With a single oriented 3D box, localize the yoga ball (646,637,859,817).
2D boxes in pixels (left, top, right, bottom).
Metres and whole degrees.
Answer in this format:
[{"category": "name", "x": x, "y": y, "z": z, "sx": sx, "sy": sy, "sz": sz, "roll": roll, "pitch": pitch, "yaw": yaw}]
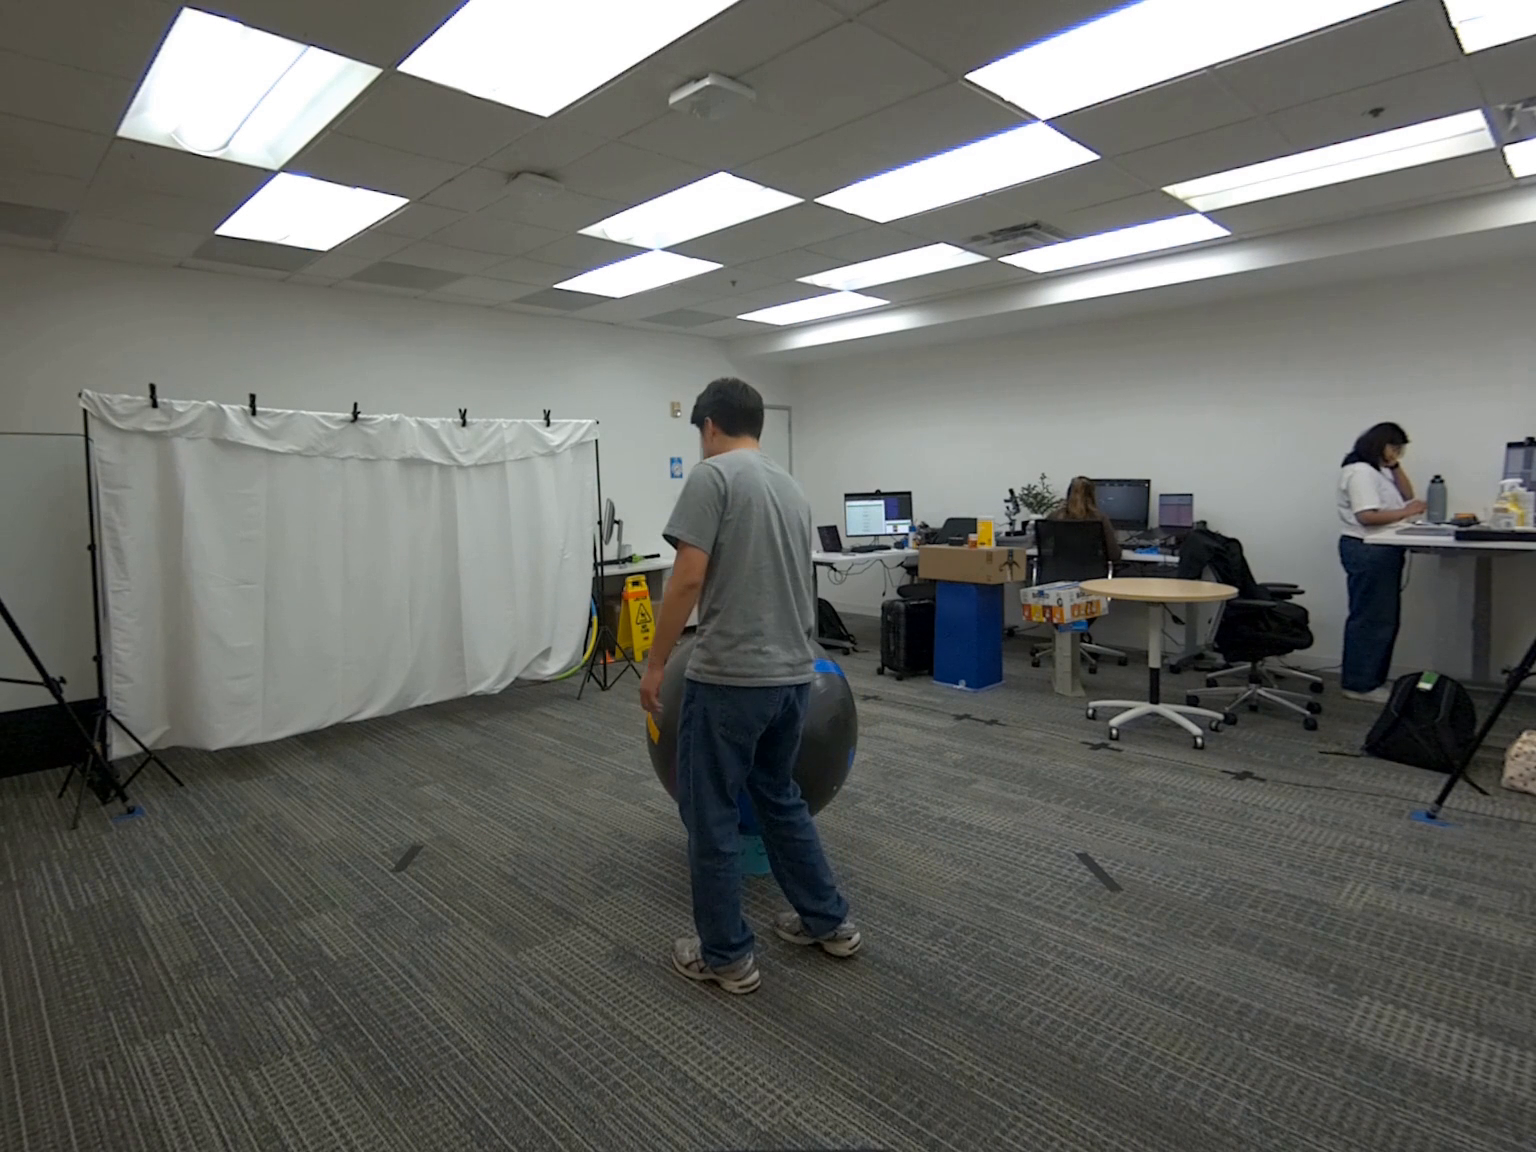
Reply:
[{"category": "yoga ball", "x": -0.056, "y": 0.542, "z": 3.090, "sx": 0.757, "sy": 0.755, "sz": 0.762, "roll": -1, "pitch": 5, "yaw": -2}]
